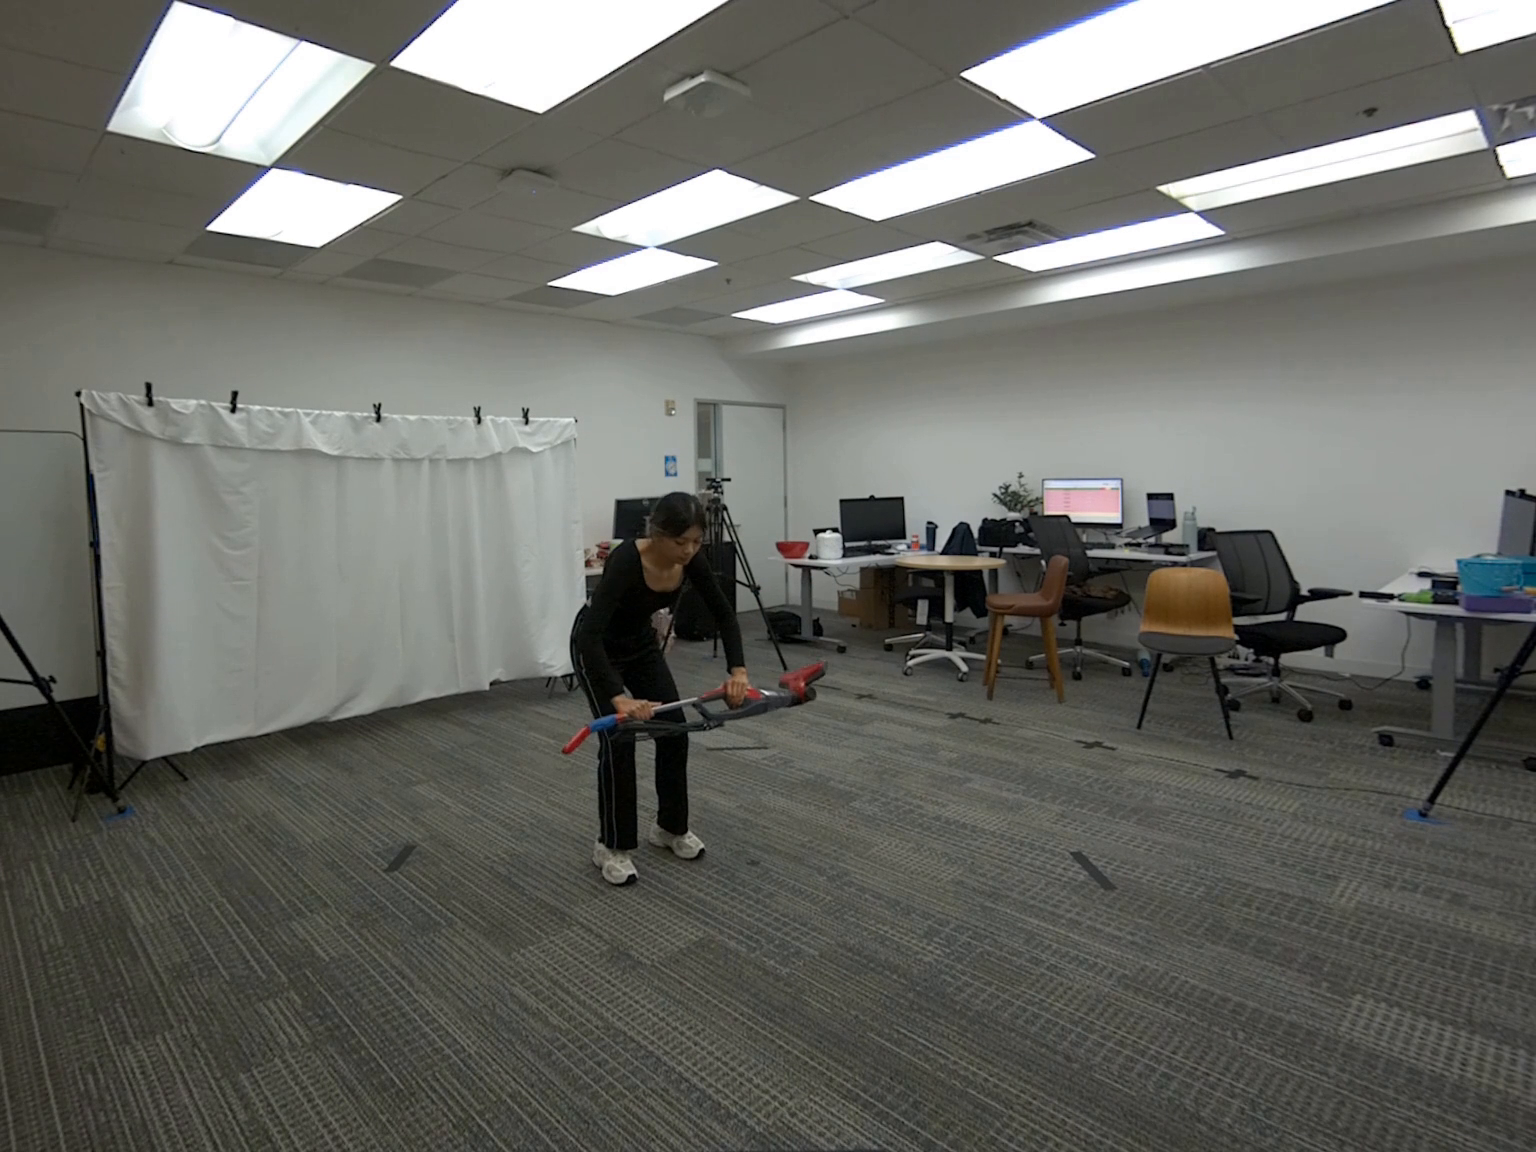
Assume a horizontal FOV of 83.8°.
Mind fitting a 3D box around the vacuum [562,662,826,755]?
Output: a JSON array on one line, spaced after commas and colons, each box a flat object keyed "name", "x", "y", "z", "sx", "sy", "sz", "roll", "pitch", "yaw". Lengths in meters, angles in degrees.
[{"name": "vacuum", "x": -0.238, "y": 0.464, "z": 2.875, "sx": 1.022, "sy": 0.146, "sz": 0.256, "roll": -7, "pitch": -14, "yaw": -42}]
